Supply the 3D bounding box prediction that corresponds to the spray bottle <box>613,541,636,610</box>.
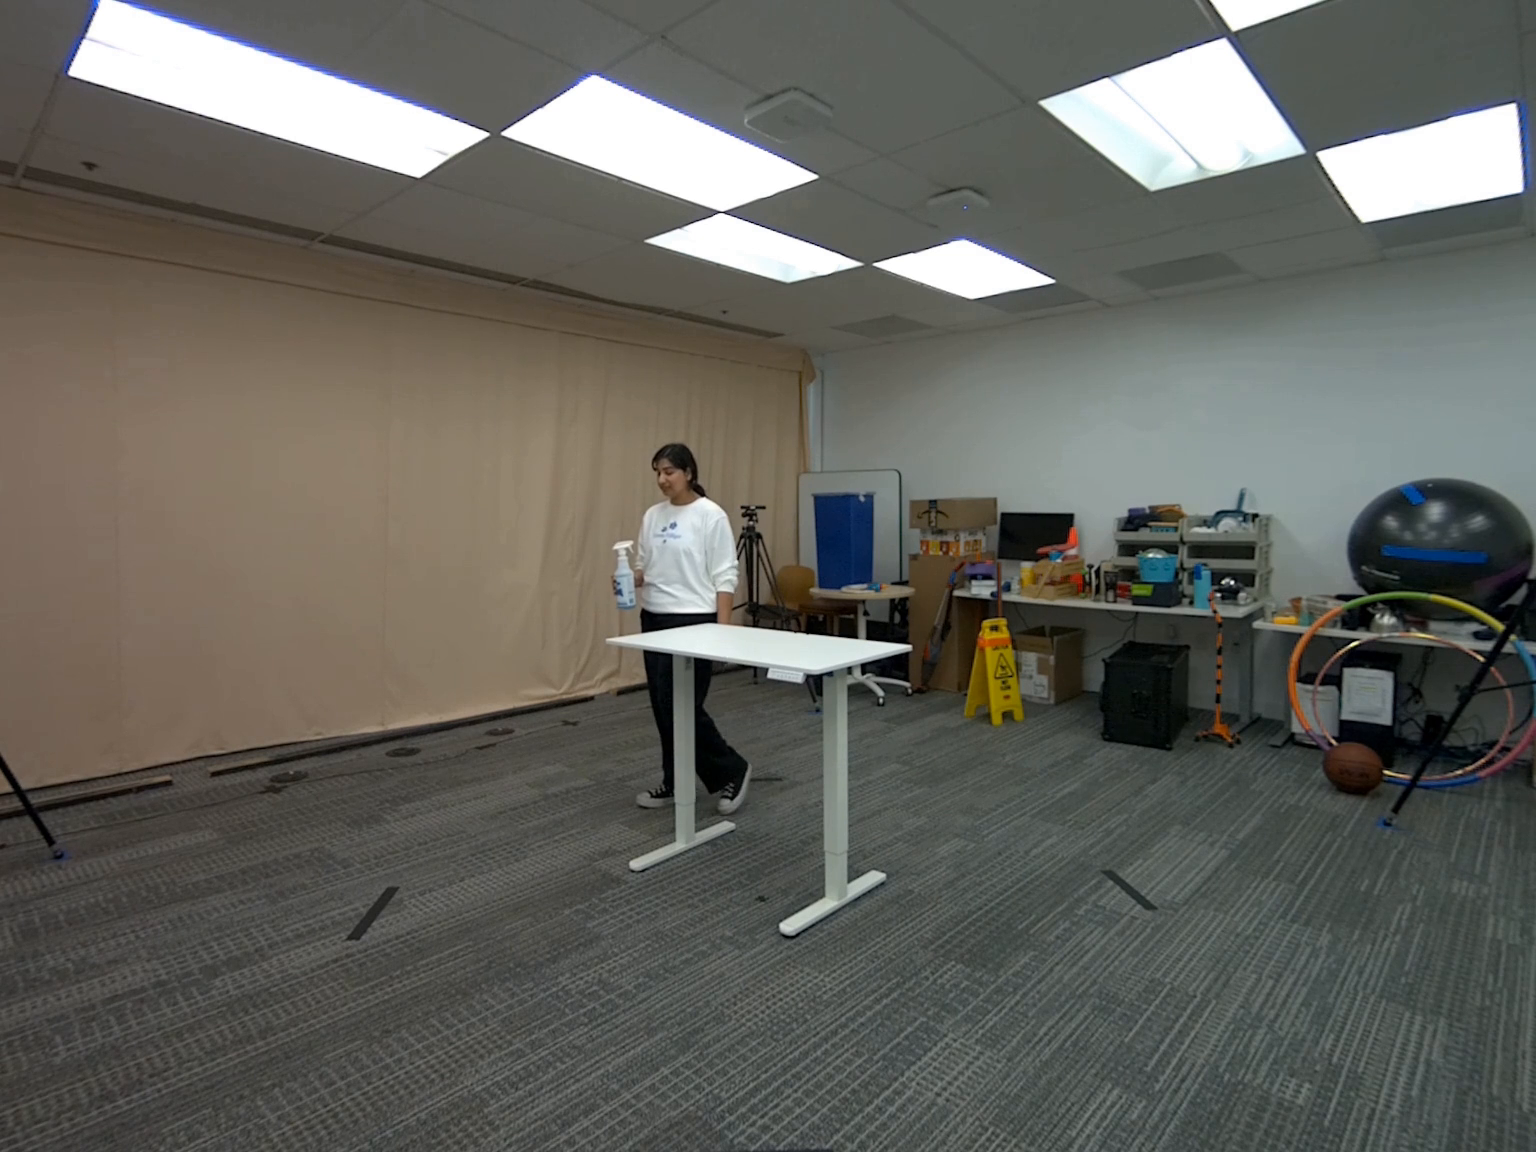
[{"bbox_3d":[-0.628,-0.004,3.722,0.092,0.296,0.085,2,4,18],"label":"spray bottle"}]
